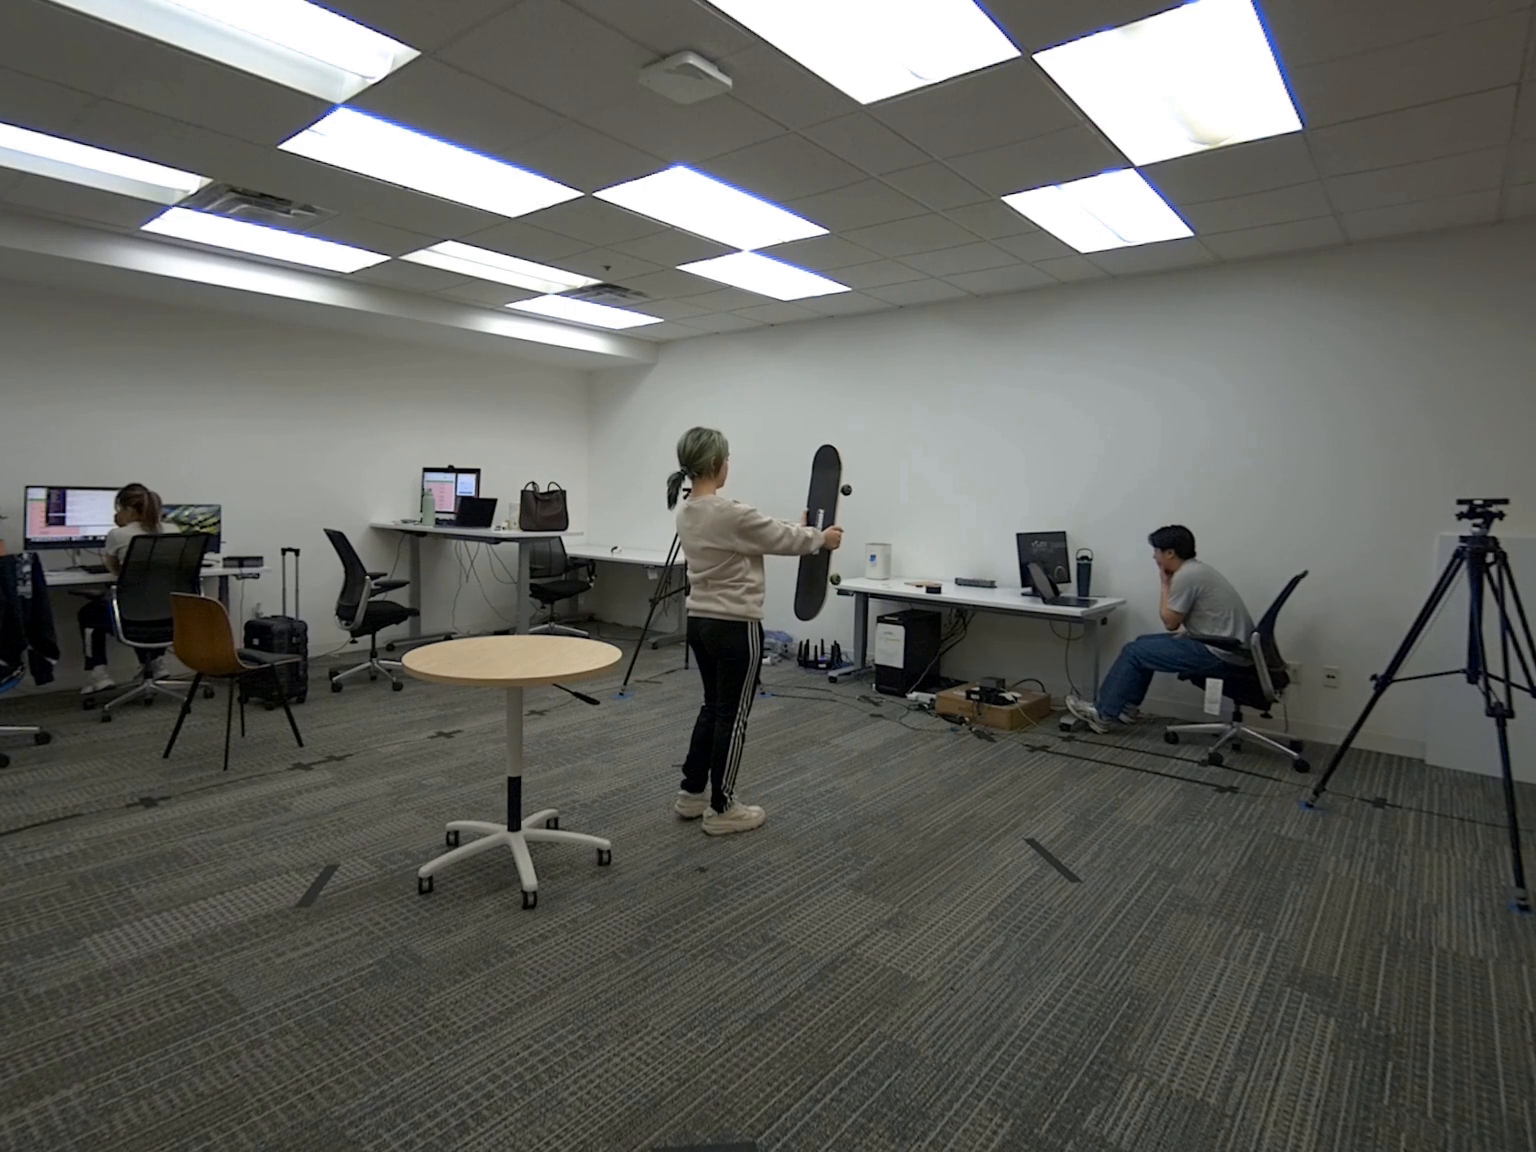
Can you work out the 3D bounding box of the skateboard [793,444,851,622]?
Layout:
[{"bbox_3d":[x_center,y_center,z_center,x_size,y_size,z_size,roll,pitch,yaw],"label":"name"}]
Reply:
[{"bbox_3d":[0.238,-0.190,3.727,0.106,0.791,0.199,15,-12,-41],"label":"skateboard"}]
